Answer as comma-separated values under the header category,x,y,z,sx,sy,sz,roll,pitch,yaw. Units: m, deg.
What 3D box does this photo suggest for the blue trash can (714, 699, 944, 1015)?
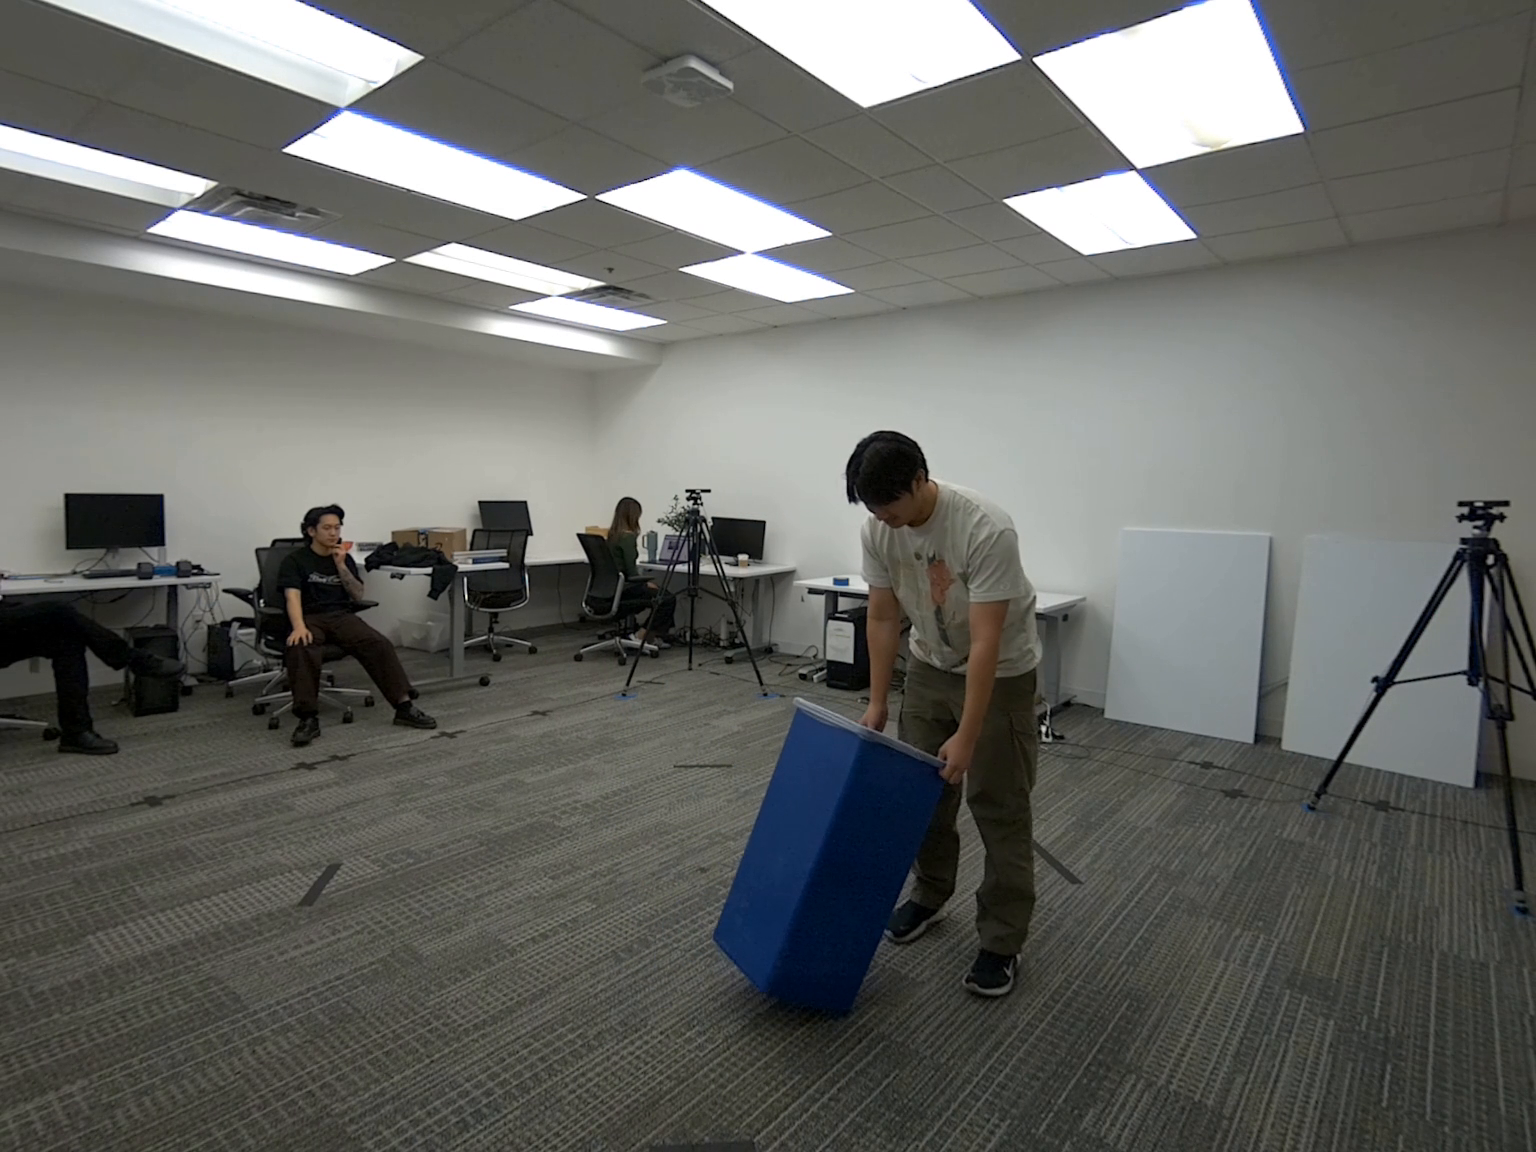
category,x,y,z,sx,sy,sz,roll,pitch,yaw
blue trash can,0.157,0.764,2.374,0.361,0.716,0.390,28,-10,-29
